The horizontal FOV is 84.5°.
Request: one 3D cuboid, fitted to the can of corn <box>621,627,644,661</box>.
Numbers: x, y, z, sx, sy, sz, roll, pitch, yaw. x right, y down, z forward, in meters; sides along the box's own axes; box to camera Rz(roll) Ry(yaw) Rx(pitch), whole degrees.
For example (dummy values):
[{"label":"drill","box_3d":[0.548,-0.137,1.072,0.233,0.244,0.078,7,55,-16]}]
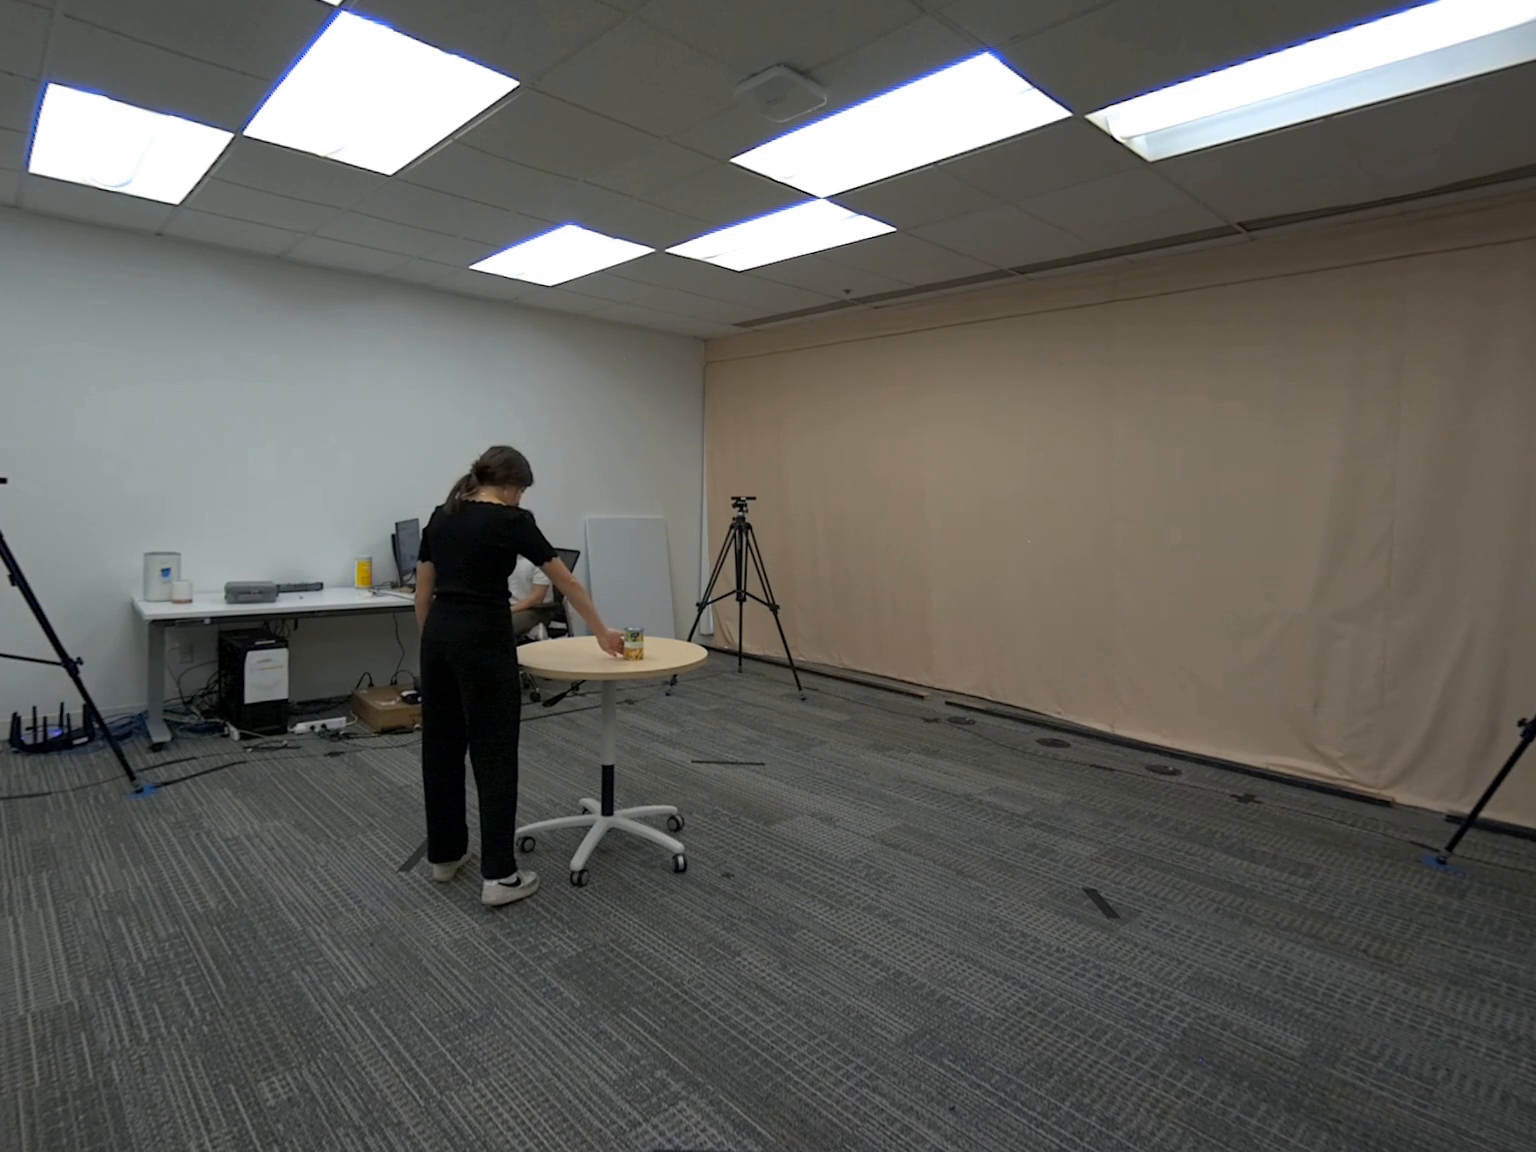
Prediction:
[{"label":"can of corn","box_3d":[-0.510,0.253,3.141,0.074,0.111,0.074,0,3,-1]}]
